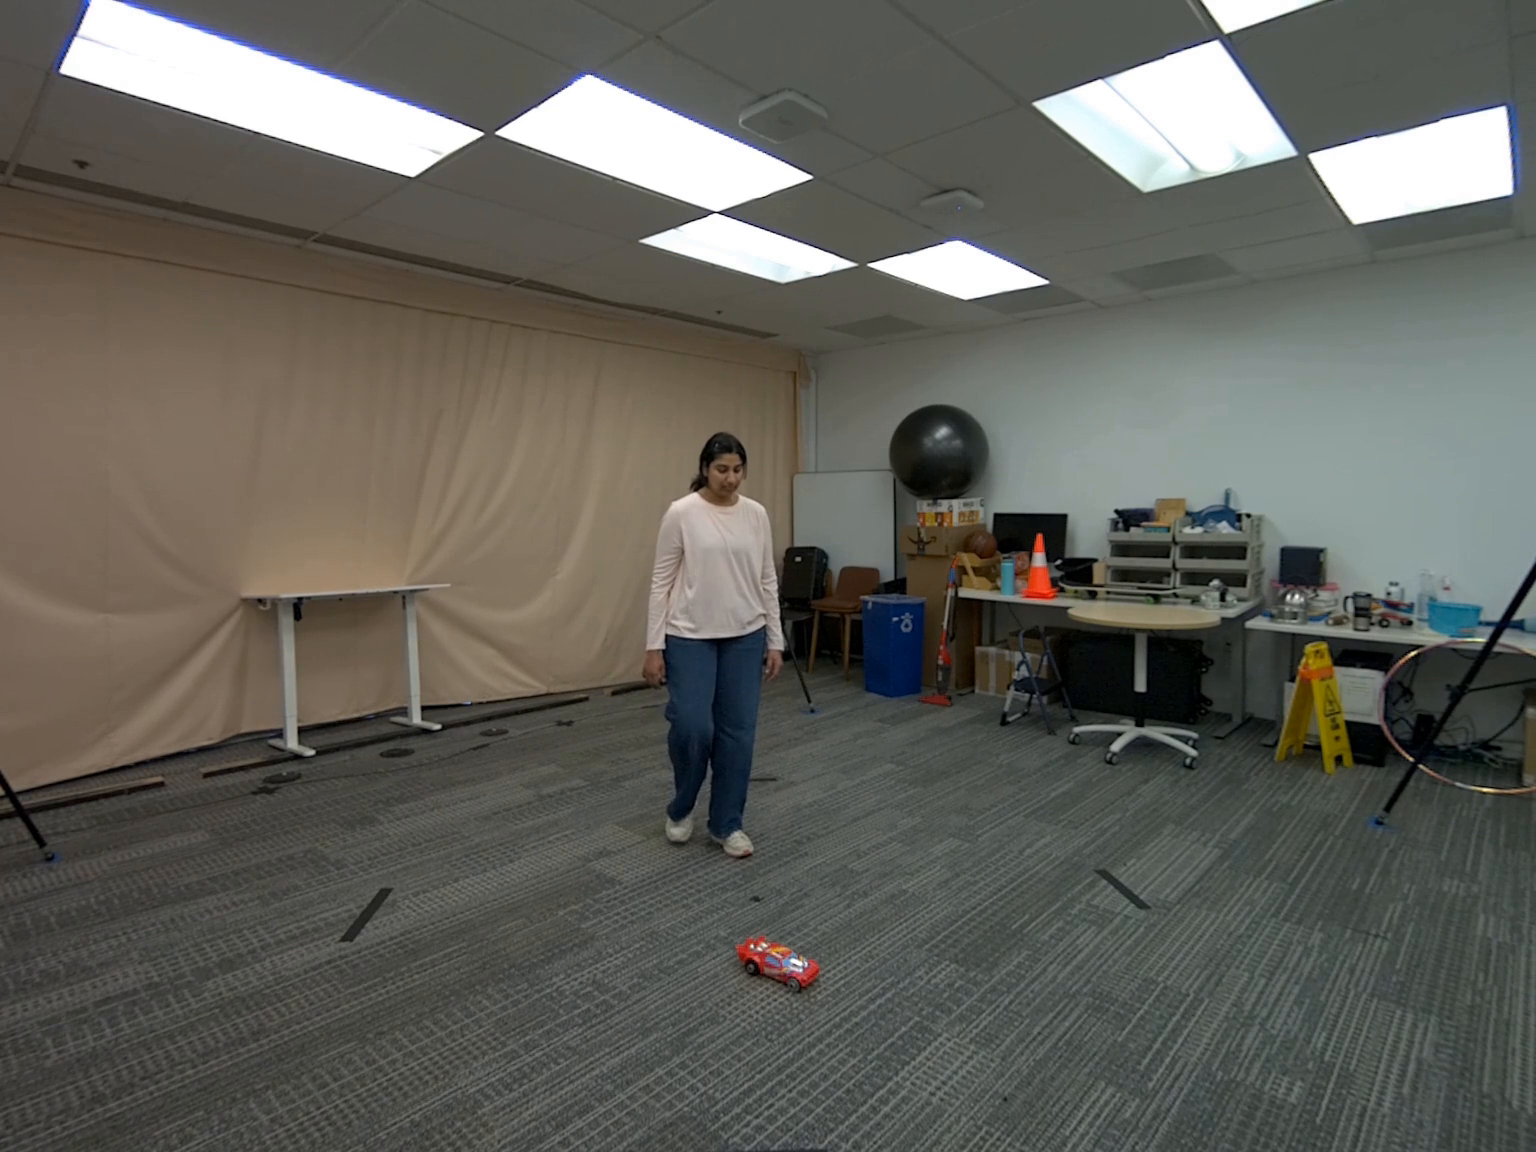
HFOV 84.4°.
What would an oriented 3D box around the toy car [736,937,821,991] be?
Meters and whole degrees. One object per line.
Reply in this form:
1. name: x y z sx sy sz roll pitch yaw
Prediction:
1. toy car: 0.029 1.154 2.501 0.263 0.083 0.126 15 12 34
